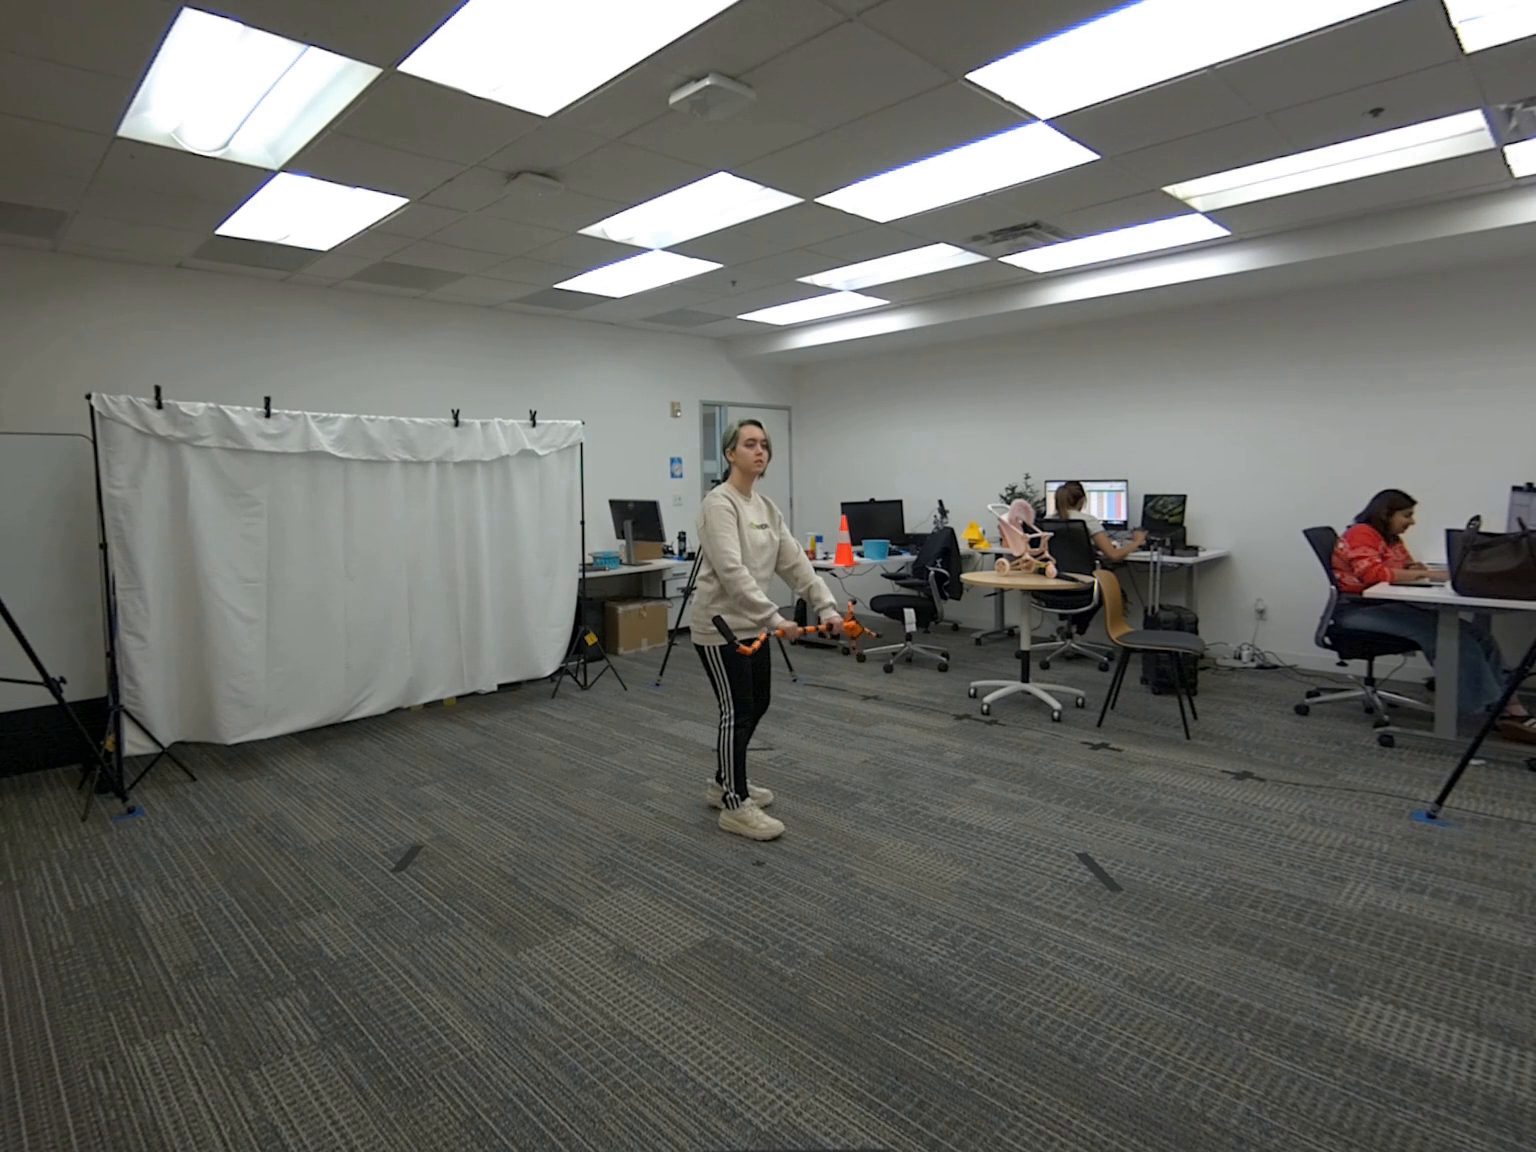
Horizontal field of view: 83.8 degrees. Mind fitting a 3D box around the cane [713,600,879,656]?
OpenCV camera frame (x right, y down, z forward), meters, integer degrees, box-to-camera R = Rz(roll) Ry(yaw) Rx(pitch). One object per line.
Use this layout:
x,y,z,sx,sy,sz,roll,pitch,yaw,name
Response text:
0.112,0.208,3.180,0.151,0.213,0.882,-49,-27,24,cane
